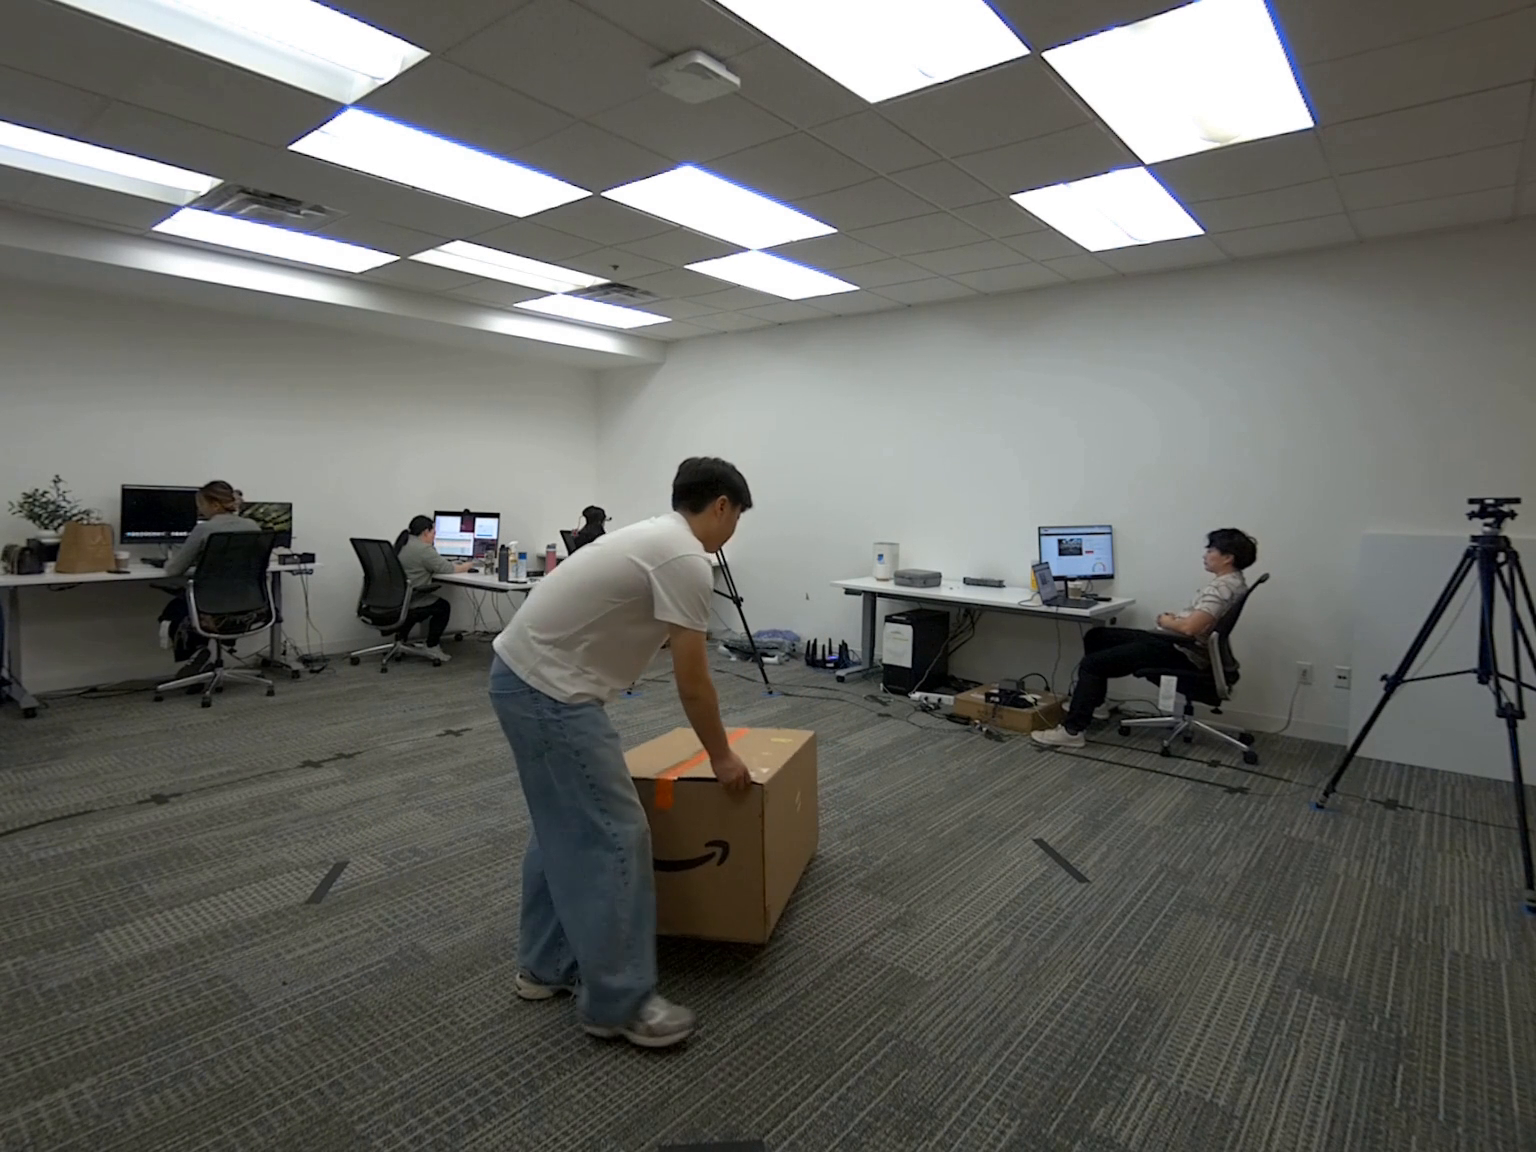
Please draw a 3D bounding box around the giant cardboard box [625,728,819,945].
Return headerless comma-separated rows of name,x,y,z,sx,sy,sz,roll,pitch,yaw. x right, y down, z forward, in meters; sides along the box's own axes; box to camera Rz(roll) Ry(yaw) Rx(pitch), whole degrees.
giant cardboard box,-0.190,0.798,2.882,0.585,0.427,1.009,-1,-2,12
